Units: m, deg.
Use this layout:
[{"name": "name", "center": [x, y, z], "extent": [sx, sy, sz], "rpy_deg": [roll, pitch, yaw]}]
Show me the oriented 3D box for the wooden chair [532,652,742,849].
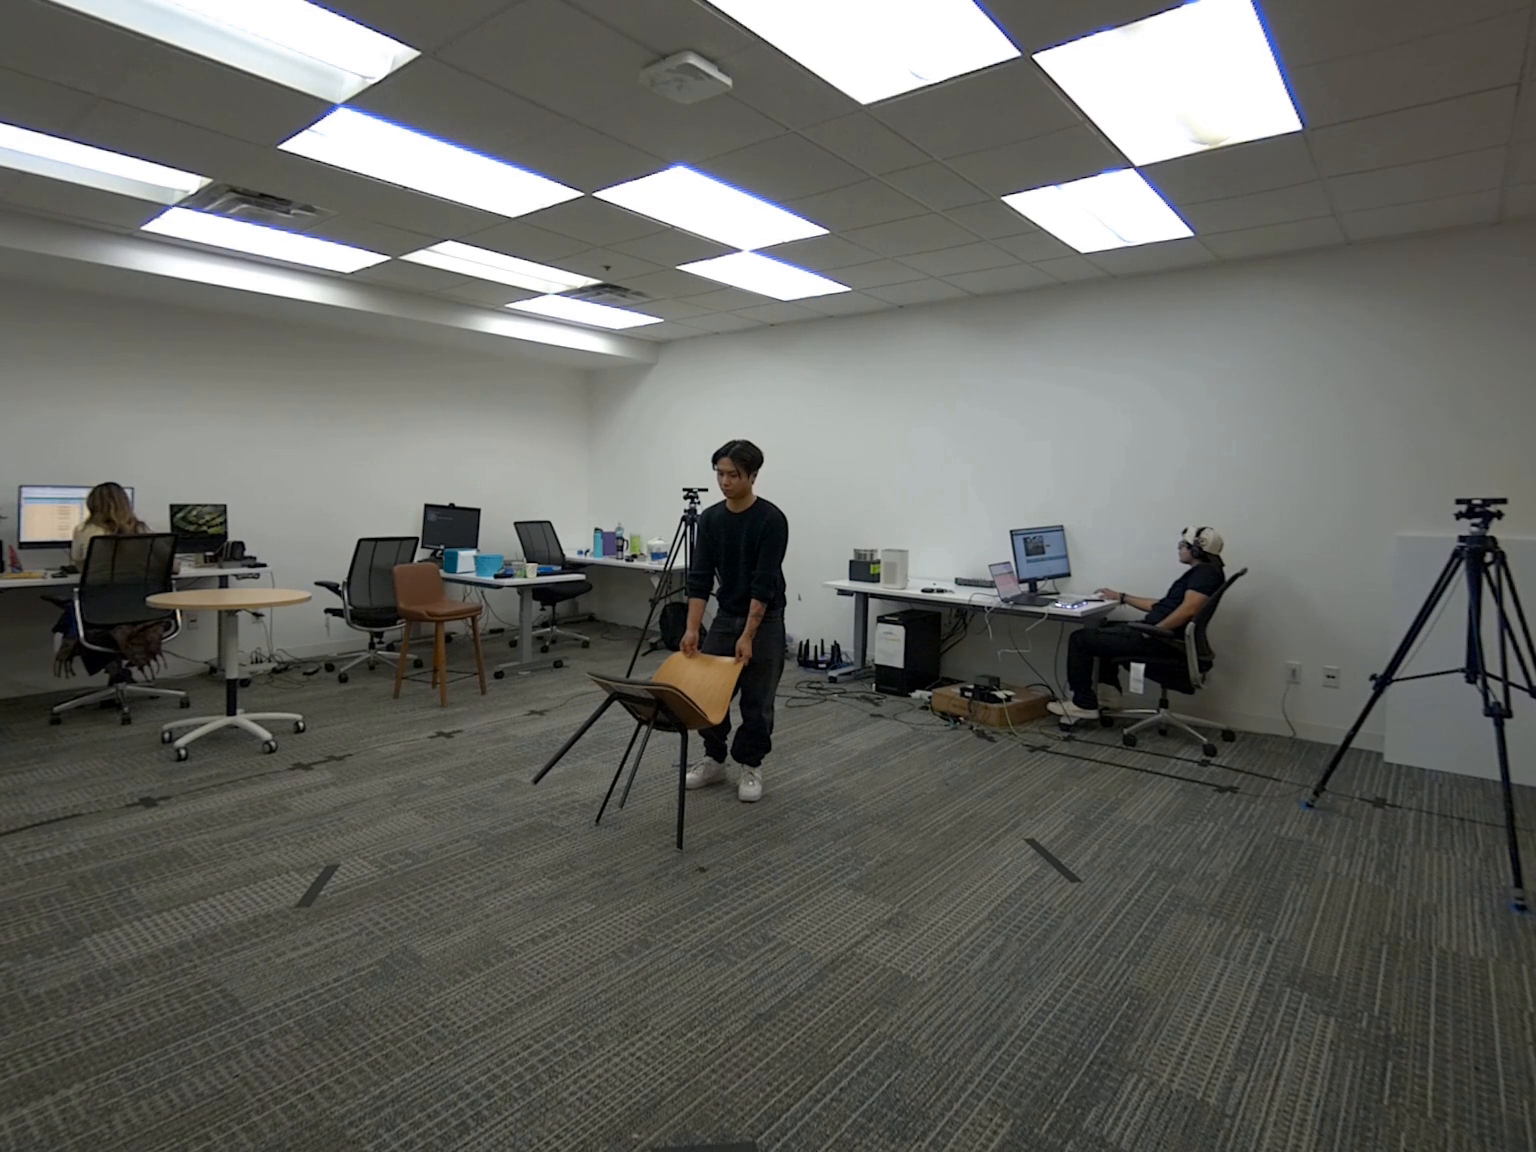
[{"name": "wooden chair", "center": [-0.490, 0.552, 3.414], "extent": [0.493, 0.886, 0.502], "rpy_deg": [3, -36, 33]}]
